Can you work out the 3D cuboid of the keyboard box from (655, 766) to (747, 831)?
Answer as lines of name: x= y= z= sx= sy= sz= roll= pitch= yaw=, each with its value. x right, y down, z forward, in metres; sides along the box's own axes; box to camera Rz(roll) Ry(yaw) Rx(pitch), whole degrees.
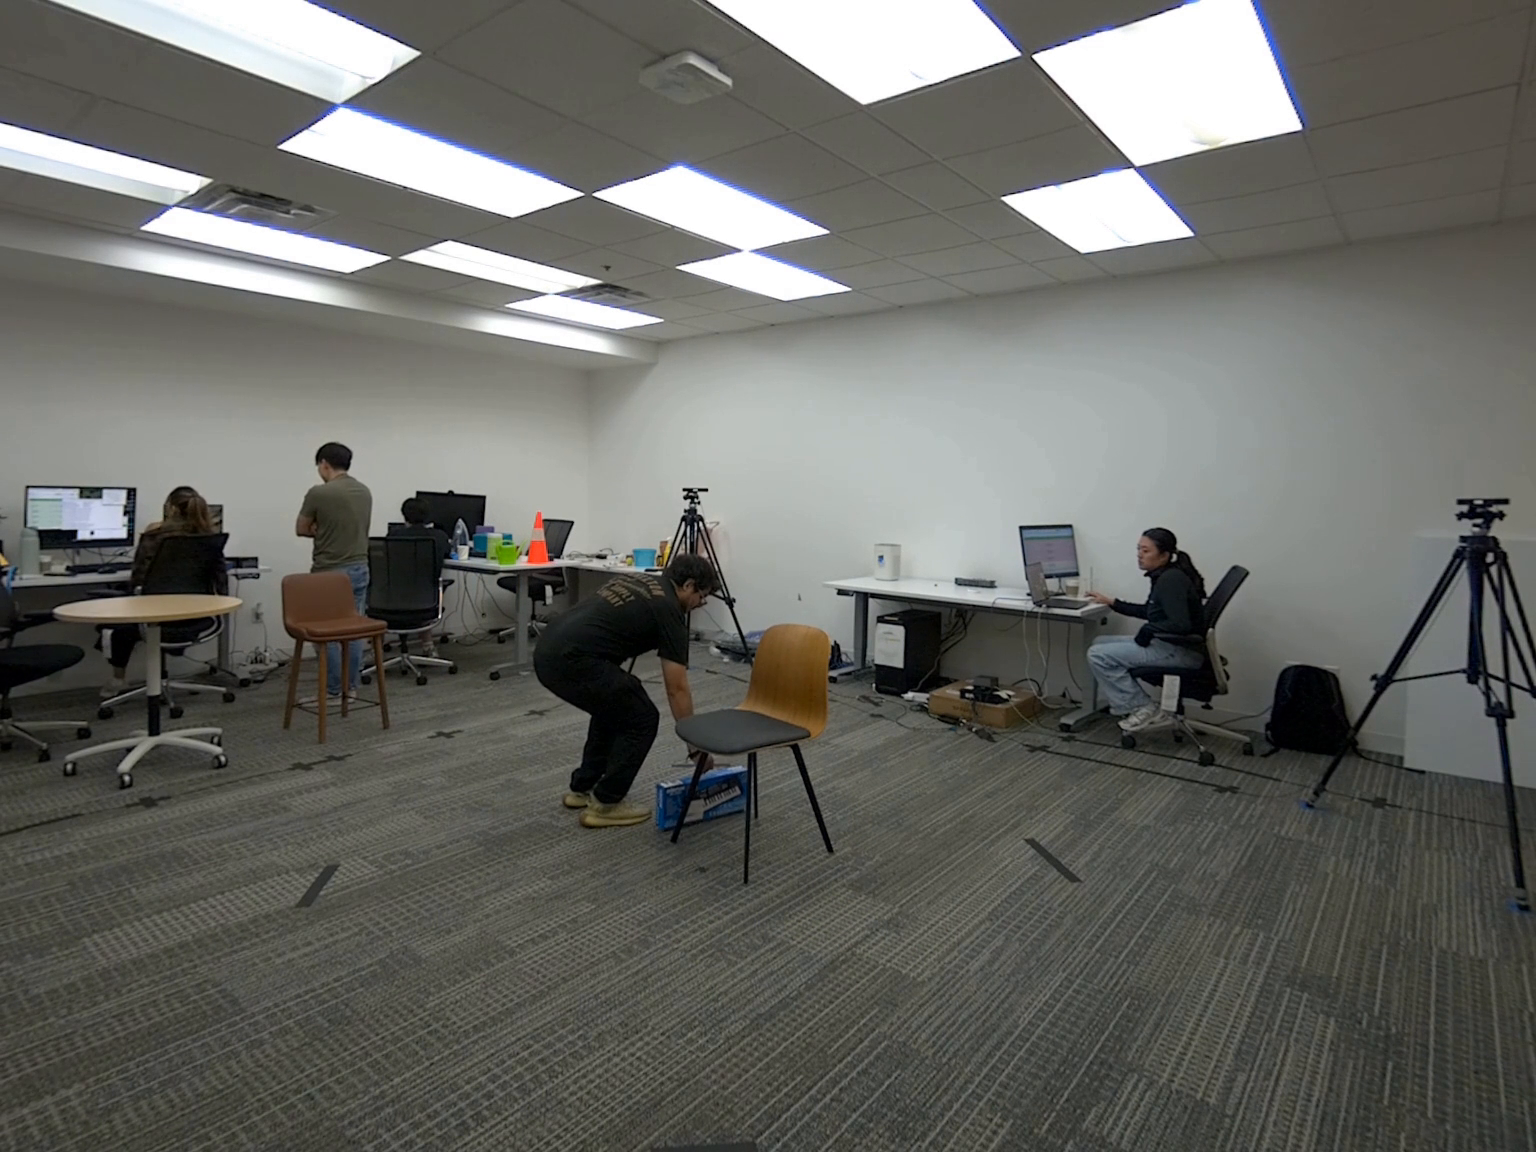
keyboard box: x=-0.280 y=0.927 z=3.574 sx=0.424 sy=0.175 sz=0.061 roll=-3 pitch=6 yaw=-36
